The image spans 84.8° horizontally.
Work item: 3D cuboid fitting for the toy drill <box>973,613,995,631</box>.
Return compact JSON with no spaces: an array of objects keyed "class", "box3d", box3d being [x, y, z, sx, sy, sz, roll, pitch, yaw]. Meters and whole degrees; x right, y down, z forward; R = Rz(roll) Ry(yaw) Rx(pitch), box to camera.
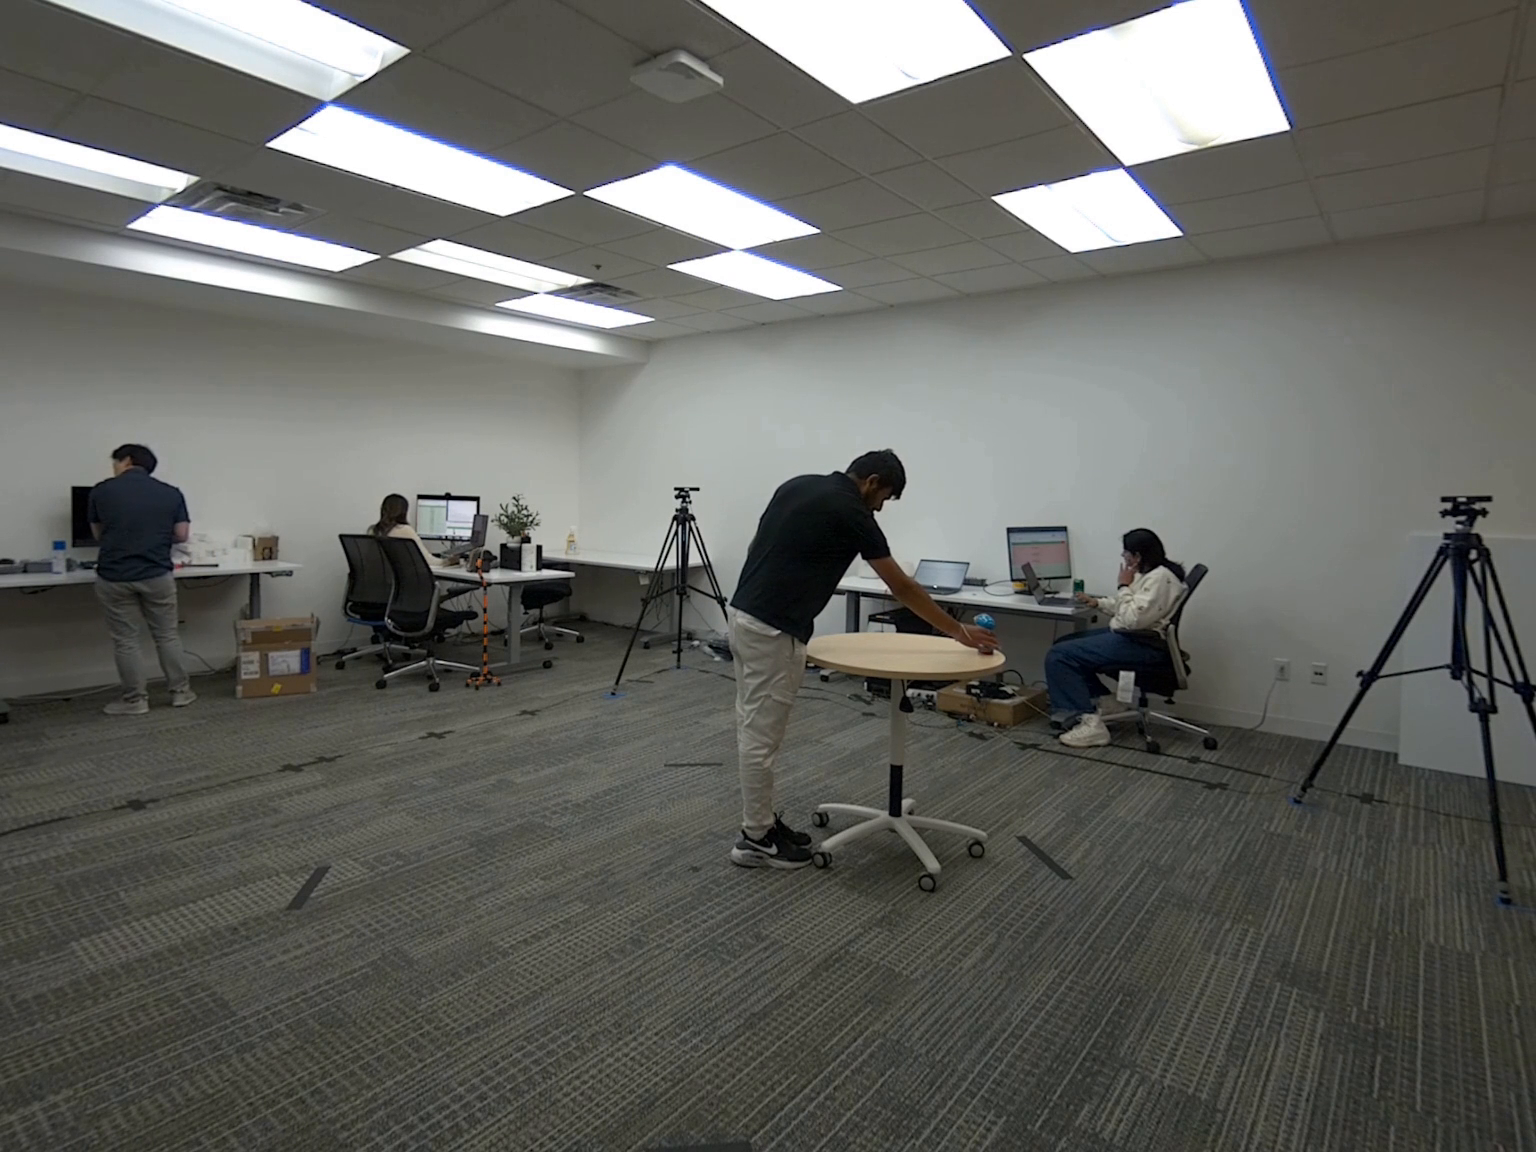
[{"class":"toy drill","box3d":[0.825,0.215,3.282,0.061,0.145,0.172,-1,5,-9]}]
